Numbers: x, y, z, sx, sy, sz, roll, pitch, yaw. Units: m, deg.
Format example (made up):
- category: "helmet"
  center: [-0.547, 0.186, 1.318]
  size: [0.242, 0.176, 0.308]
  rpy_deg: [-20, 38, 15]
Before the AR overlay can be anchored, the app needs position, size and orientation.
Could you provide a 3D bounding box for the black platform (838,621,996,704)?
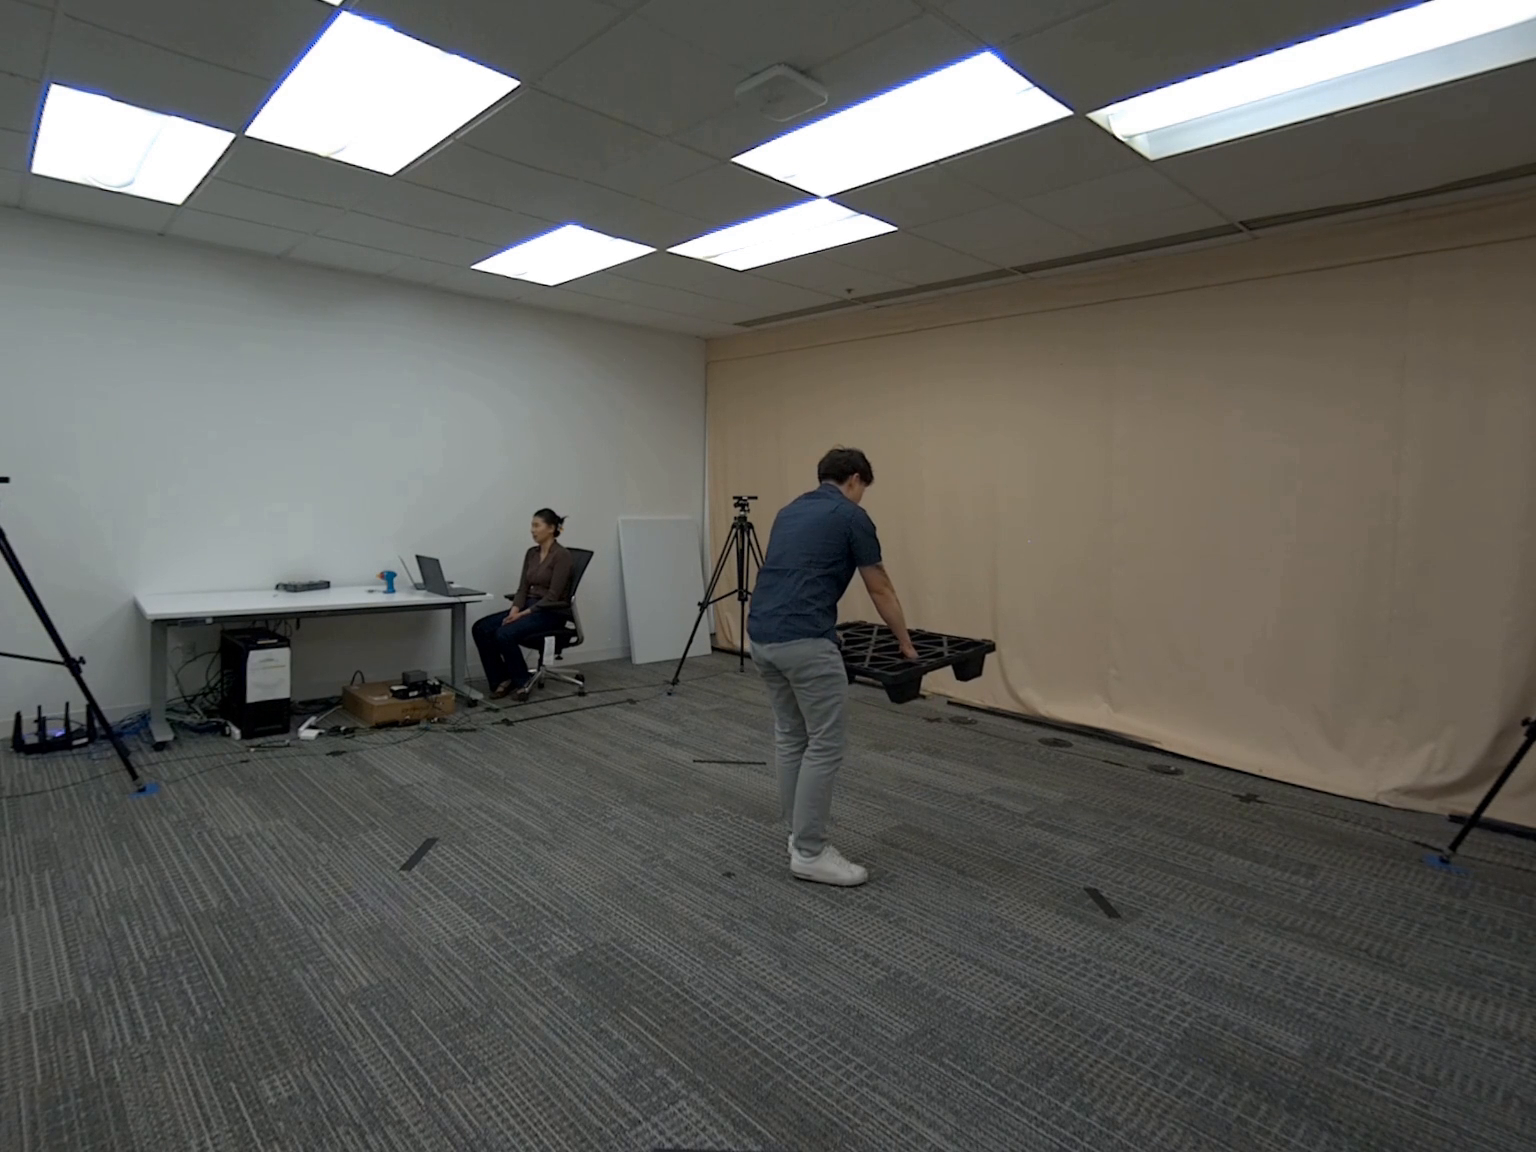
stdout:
- category: "black platform"
  center: [0.432, 0.350, 3.492]
  size: [0.594, 0.142, 0.825]
  rpy_deg: [-12, 11, -36]
